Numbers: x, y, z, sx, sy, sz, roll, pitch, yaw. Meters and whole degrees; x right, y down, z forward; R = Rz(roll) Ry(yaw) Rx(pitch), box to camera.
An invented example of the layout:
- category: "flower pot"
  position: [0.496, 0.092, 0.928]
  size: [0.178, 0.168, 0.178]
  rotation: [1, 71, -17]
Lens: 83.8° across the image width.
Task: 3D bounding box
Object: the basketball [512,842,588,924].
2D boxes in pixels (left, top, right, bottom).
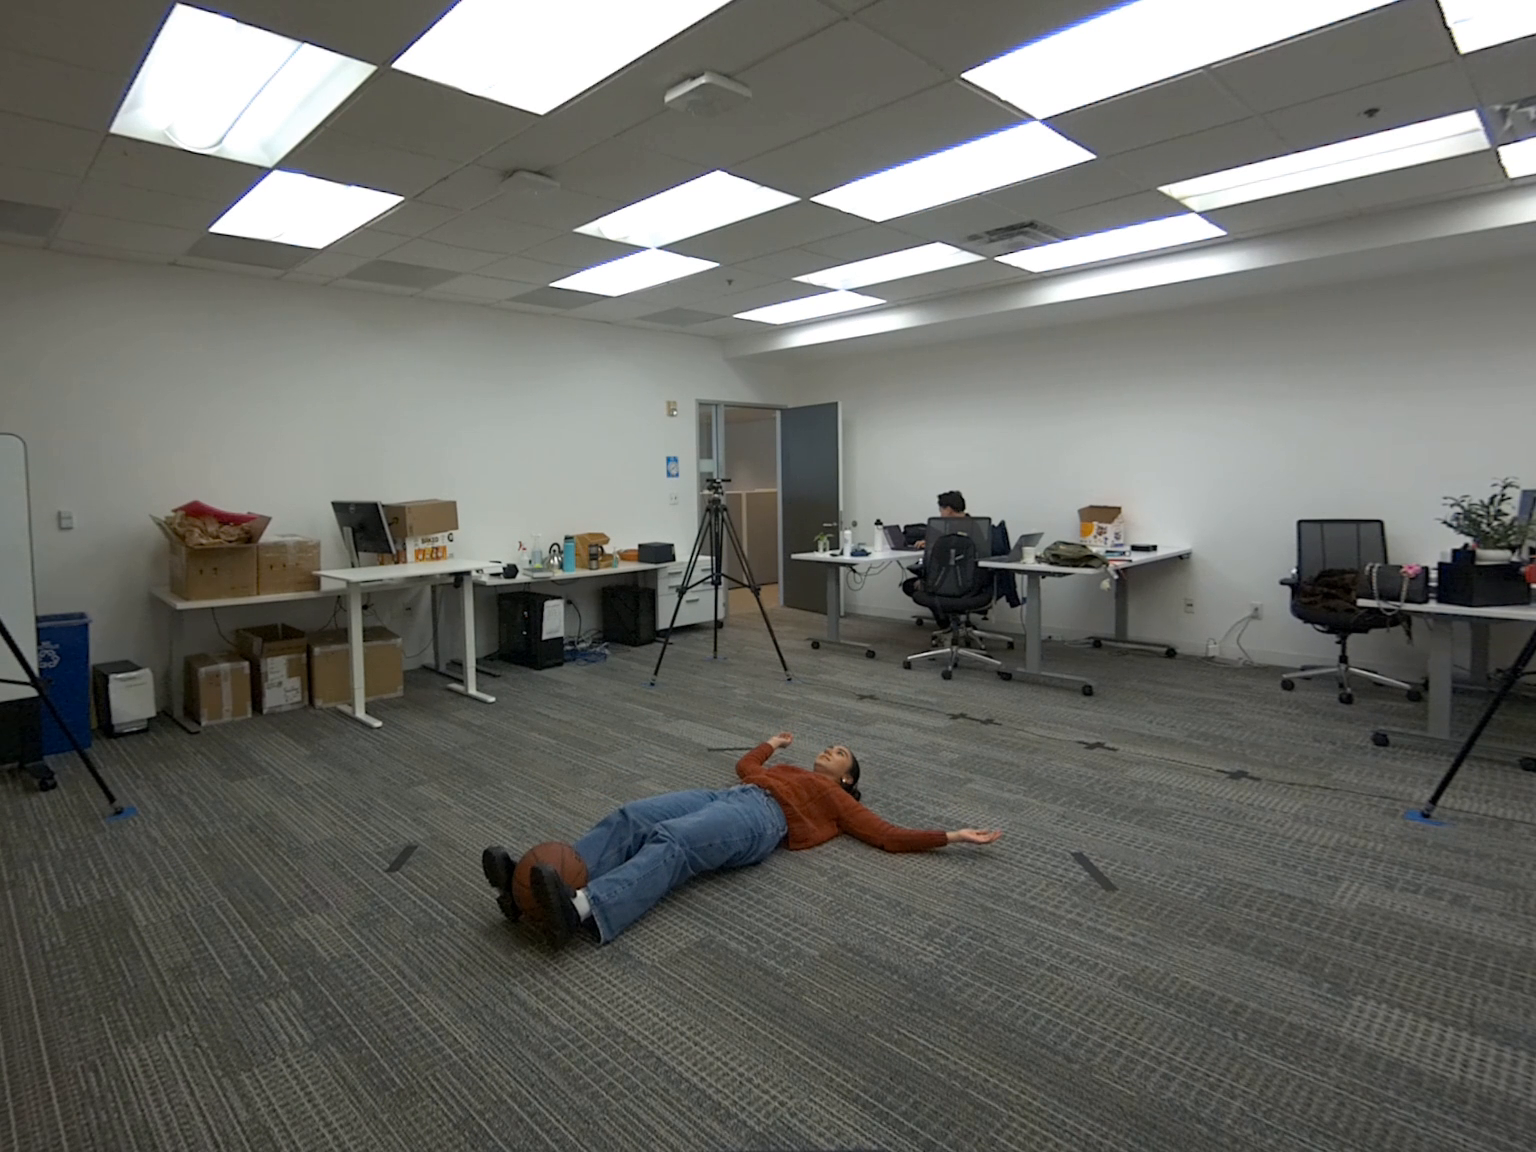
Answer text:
- category: "basketball"
  position: [-0.672, 0.949, 2.649]
  size: [0.236, 0.236, 0.236]
  rotation: [0, 1, -2]
